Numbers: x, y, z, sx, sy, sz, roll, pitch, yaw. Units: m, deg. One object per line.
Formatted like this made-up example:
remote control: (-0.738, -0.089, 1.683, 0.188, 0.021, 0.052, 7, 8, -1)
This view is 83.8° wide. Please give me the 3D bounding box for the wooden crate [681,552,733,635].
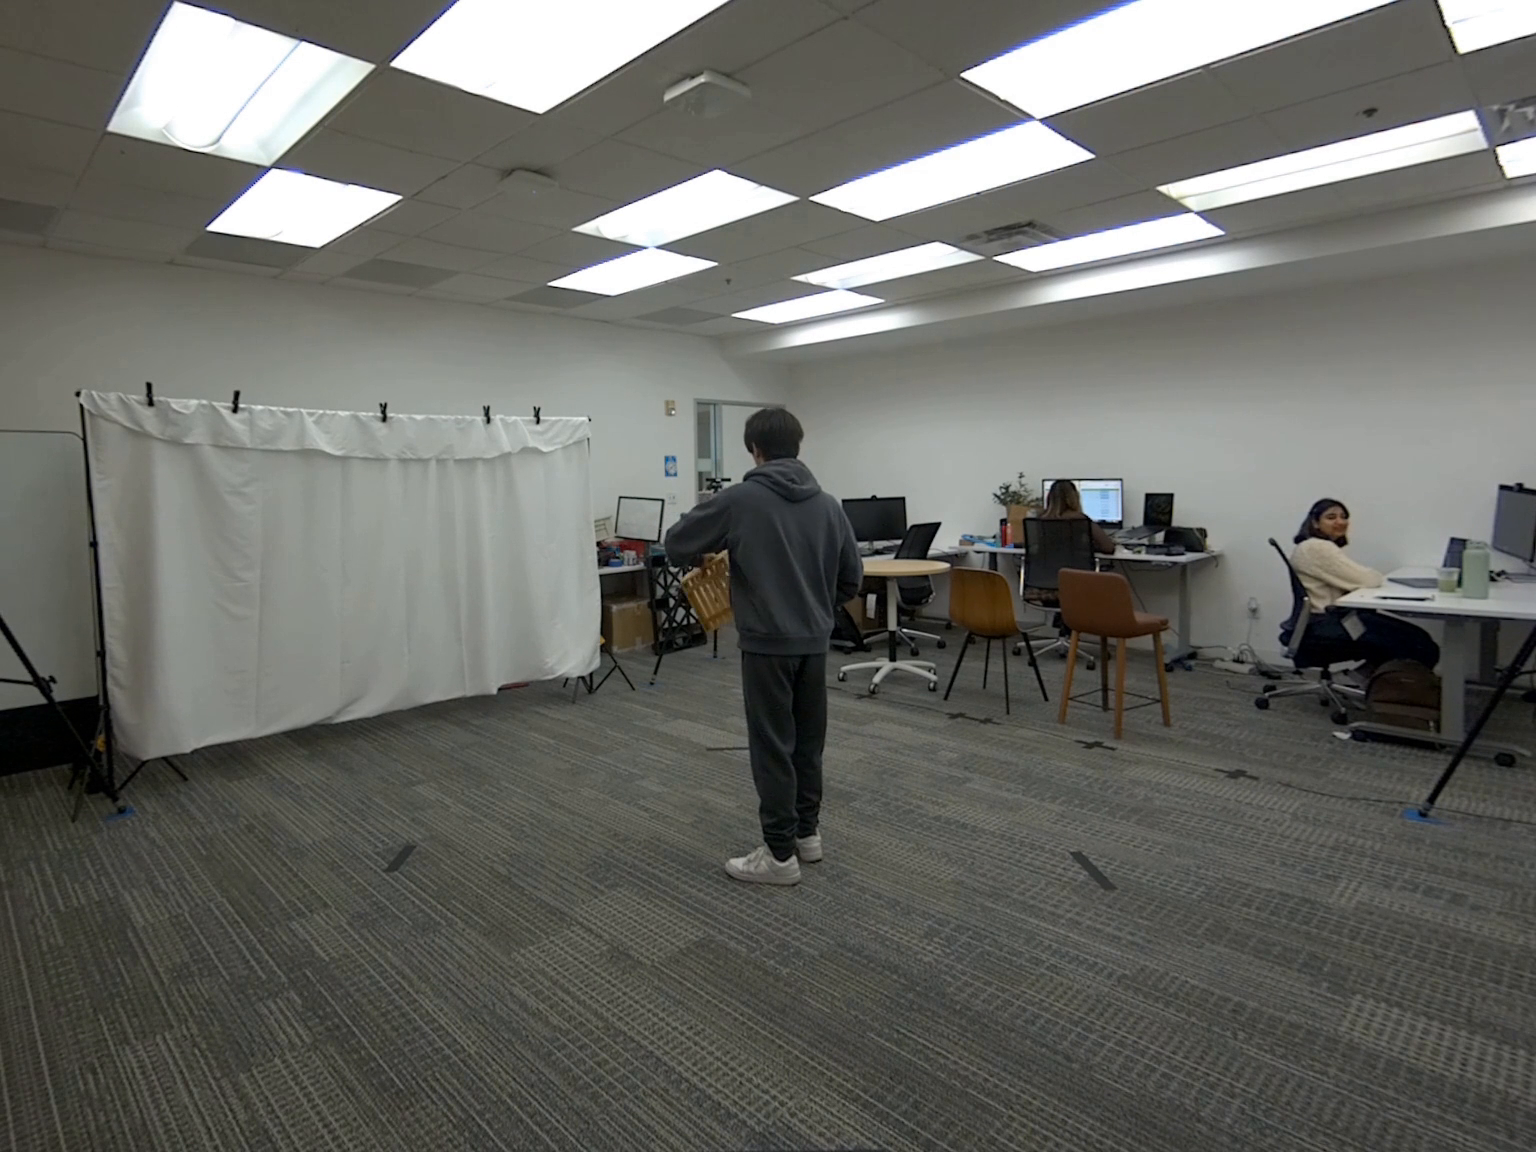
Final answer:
wooden crate: (-0.115, 0.054, 3.407, 0.328, 0.304, 0.269, -31, -5, 41)
